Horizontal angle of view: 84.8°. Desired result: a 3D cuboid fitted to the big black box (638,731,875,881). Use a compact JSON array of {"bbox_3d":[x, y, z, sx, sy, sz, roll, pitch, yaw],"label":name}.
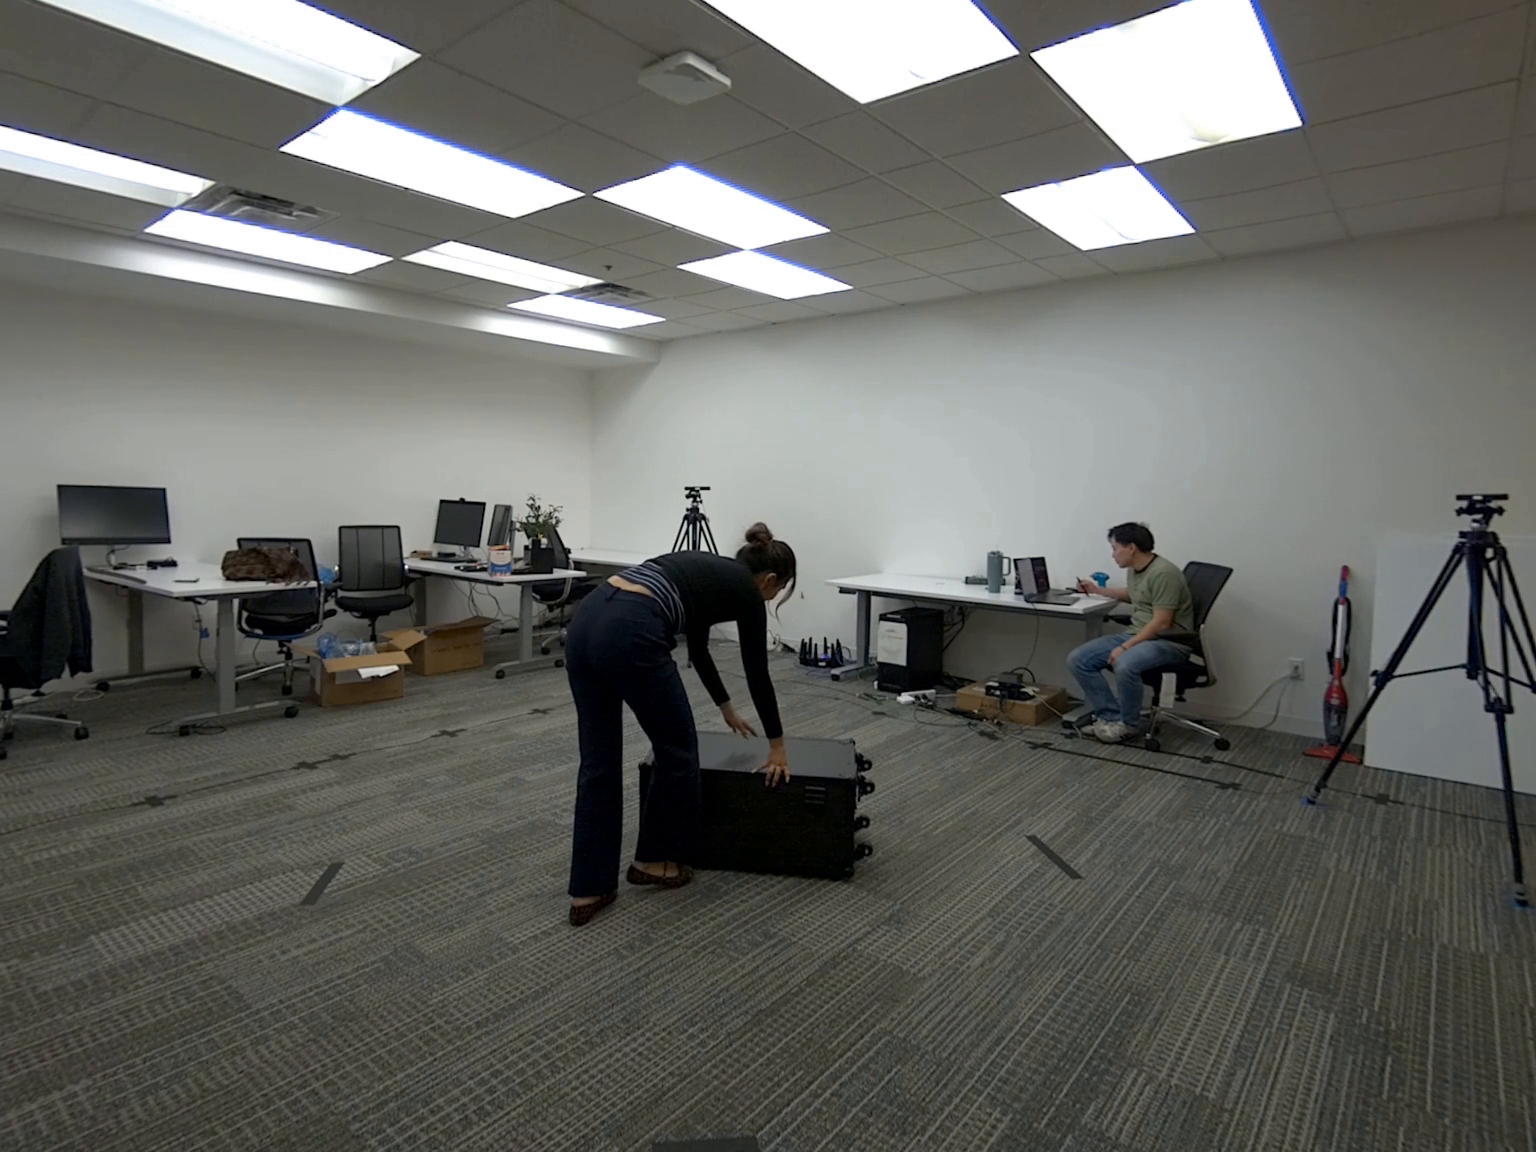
[{"bbox_3d":[-0.035,0.857,3.283,0.869,0.395,0.519,1,5,7],"label":"big black box"}]
